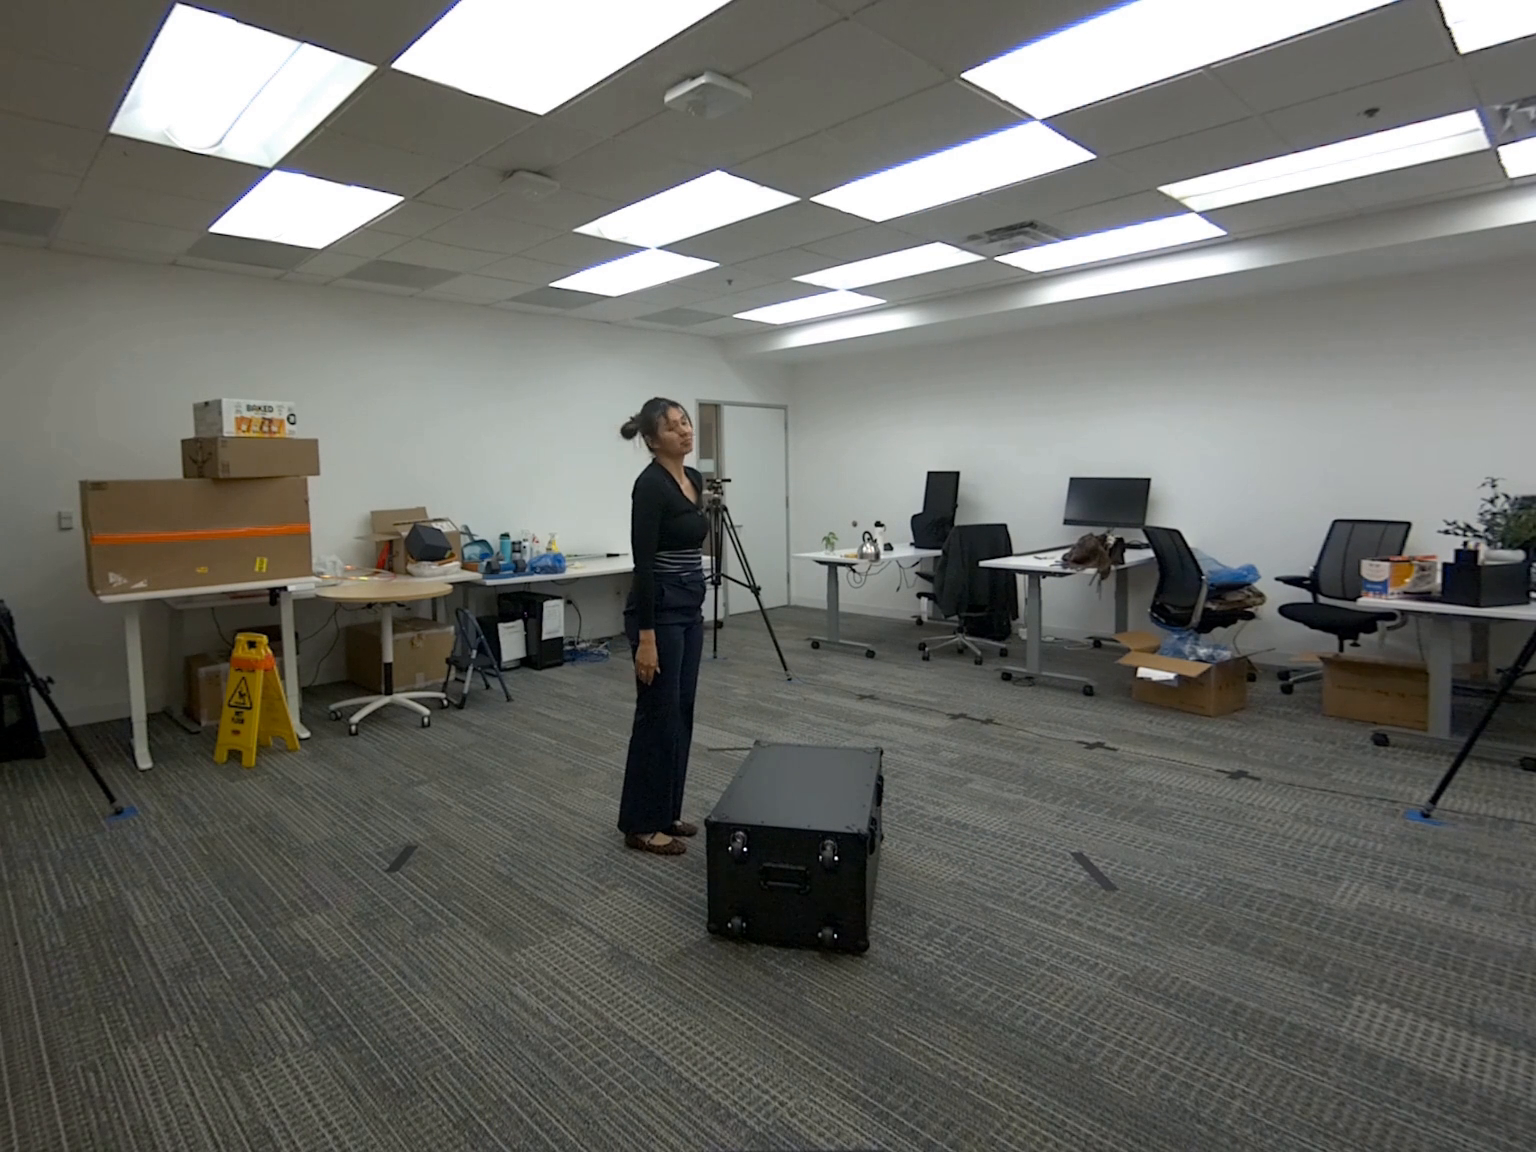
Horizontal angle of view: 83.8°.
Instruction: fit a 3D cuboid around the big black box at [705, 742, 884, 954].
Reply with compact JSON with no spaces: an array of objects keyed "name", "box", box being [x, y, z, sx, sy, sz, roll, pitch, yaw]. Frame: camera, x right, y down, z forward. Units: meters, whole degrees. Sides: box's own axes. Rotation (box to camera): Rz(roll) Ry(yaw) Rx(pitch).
[{"name":"big black box","box":[0.114,0.876,2.858,0.528,0.395,0.854,0,5,12]}]
